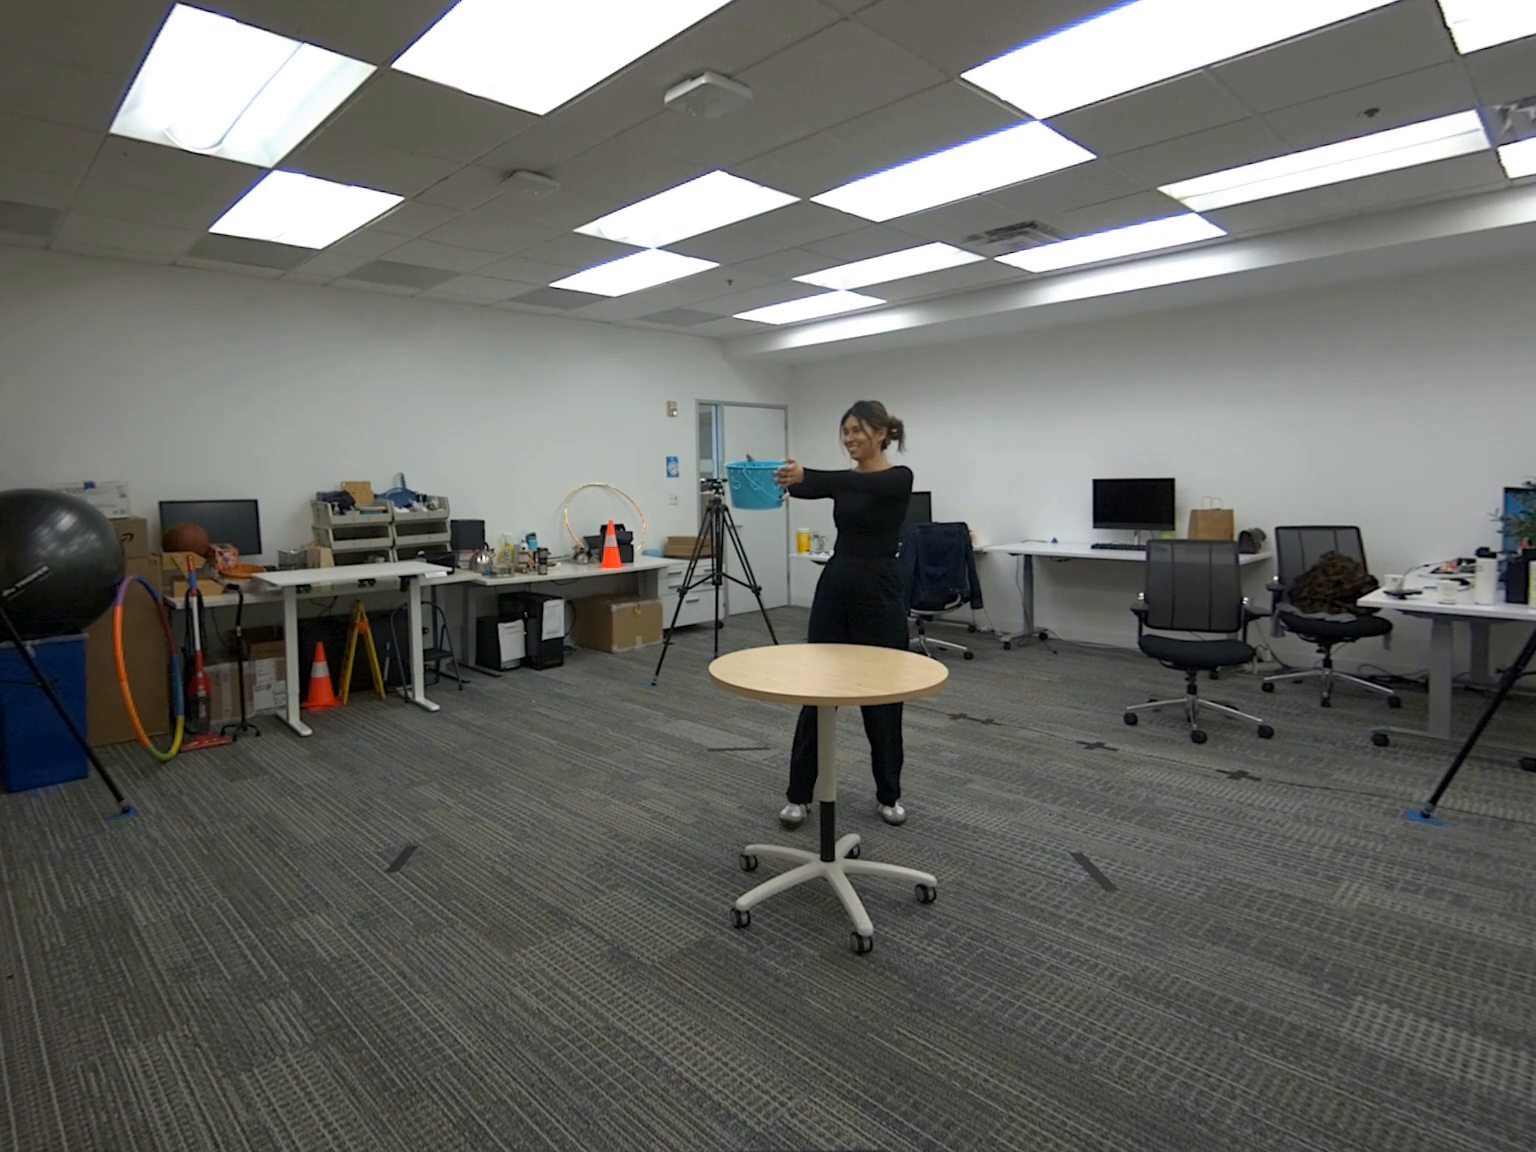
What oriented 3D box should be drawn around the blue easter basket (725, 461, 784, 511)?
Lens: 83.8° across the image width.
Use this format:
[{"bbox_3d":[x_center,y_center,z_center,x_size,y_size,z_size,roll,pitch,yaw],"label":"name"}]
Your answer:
[{"bbox_3d":[-0.026,-0.327,3.055,0.243,0.154,0.246,0,12,-2],"label":"blue easter basket"}]
